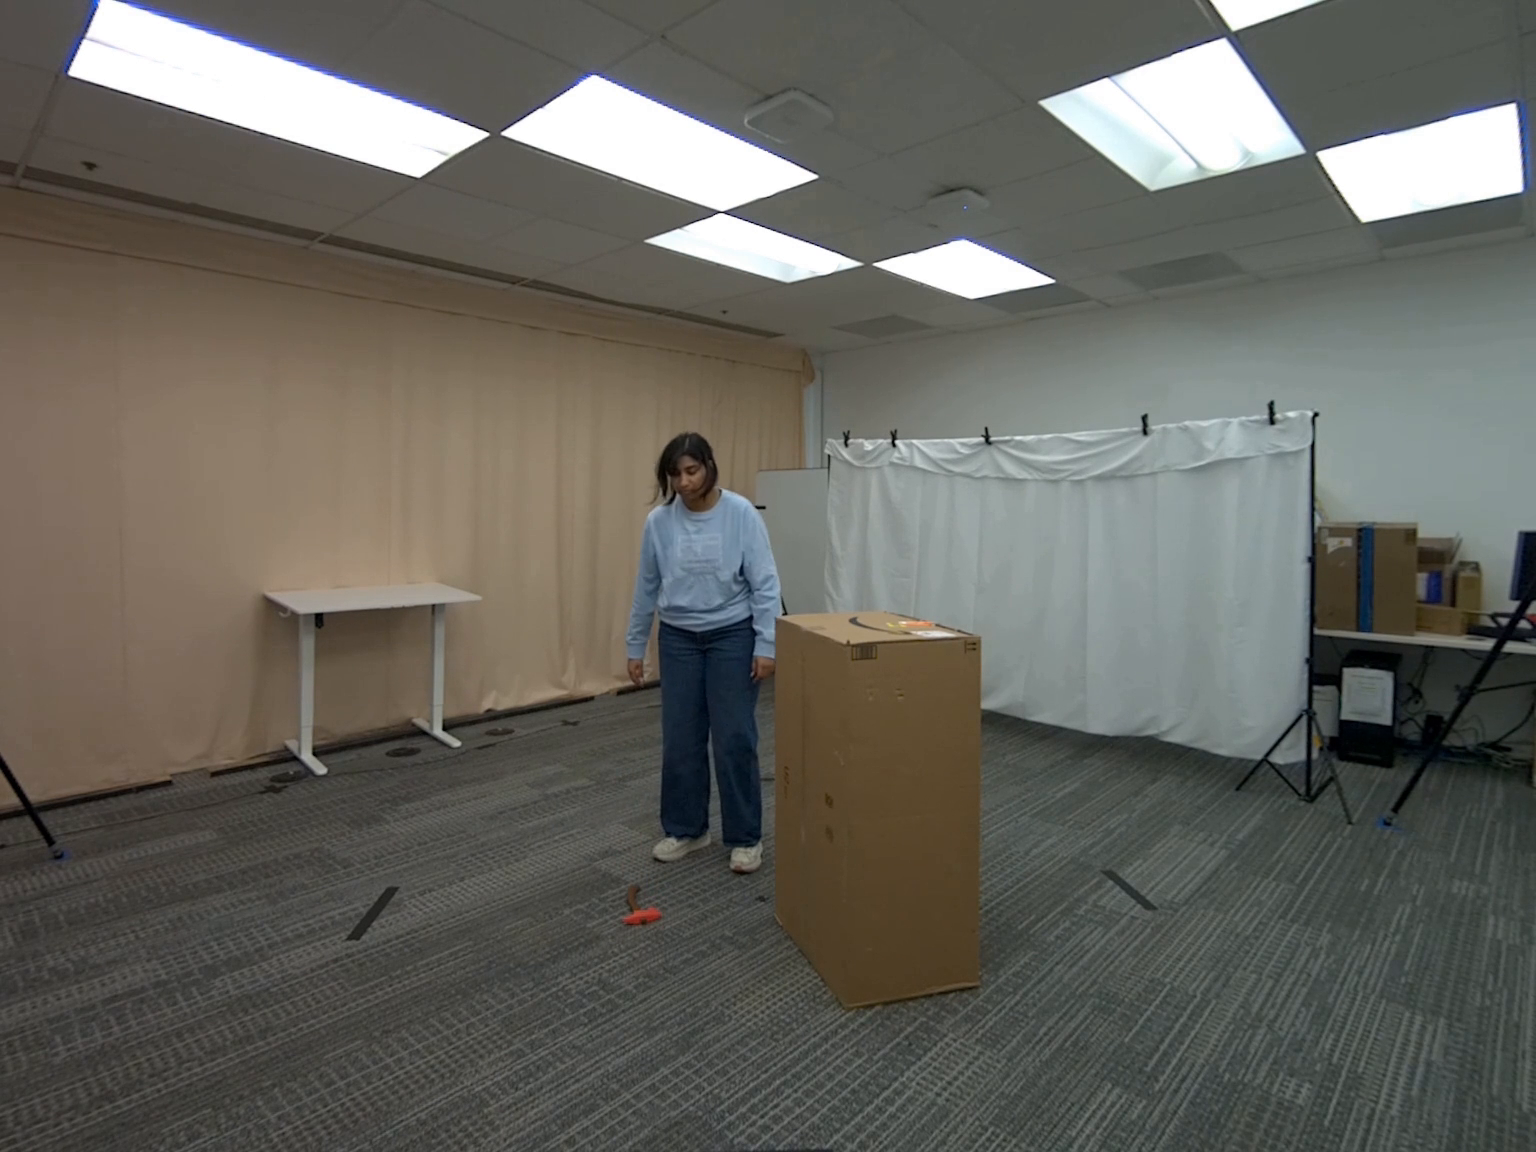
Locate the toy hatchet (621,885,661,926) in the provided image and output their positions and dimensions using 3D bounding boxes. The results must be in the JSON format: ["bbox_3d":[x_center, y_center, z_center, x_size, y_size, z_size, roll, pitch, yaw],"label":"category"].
[{"bbox_3d":[-0.431,1.139,2.937,0.131,0.029,0.271,-1,3,-3],"label":"toy hatchet"}]
